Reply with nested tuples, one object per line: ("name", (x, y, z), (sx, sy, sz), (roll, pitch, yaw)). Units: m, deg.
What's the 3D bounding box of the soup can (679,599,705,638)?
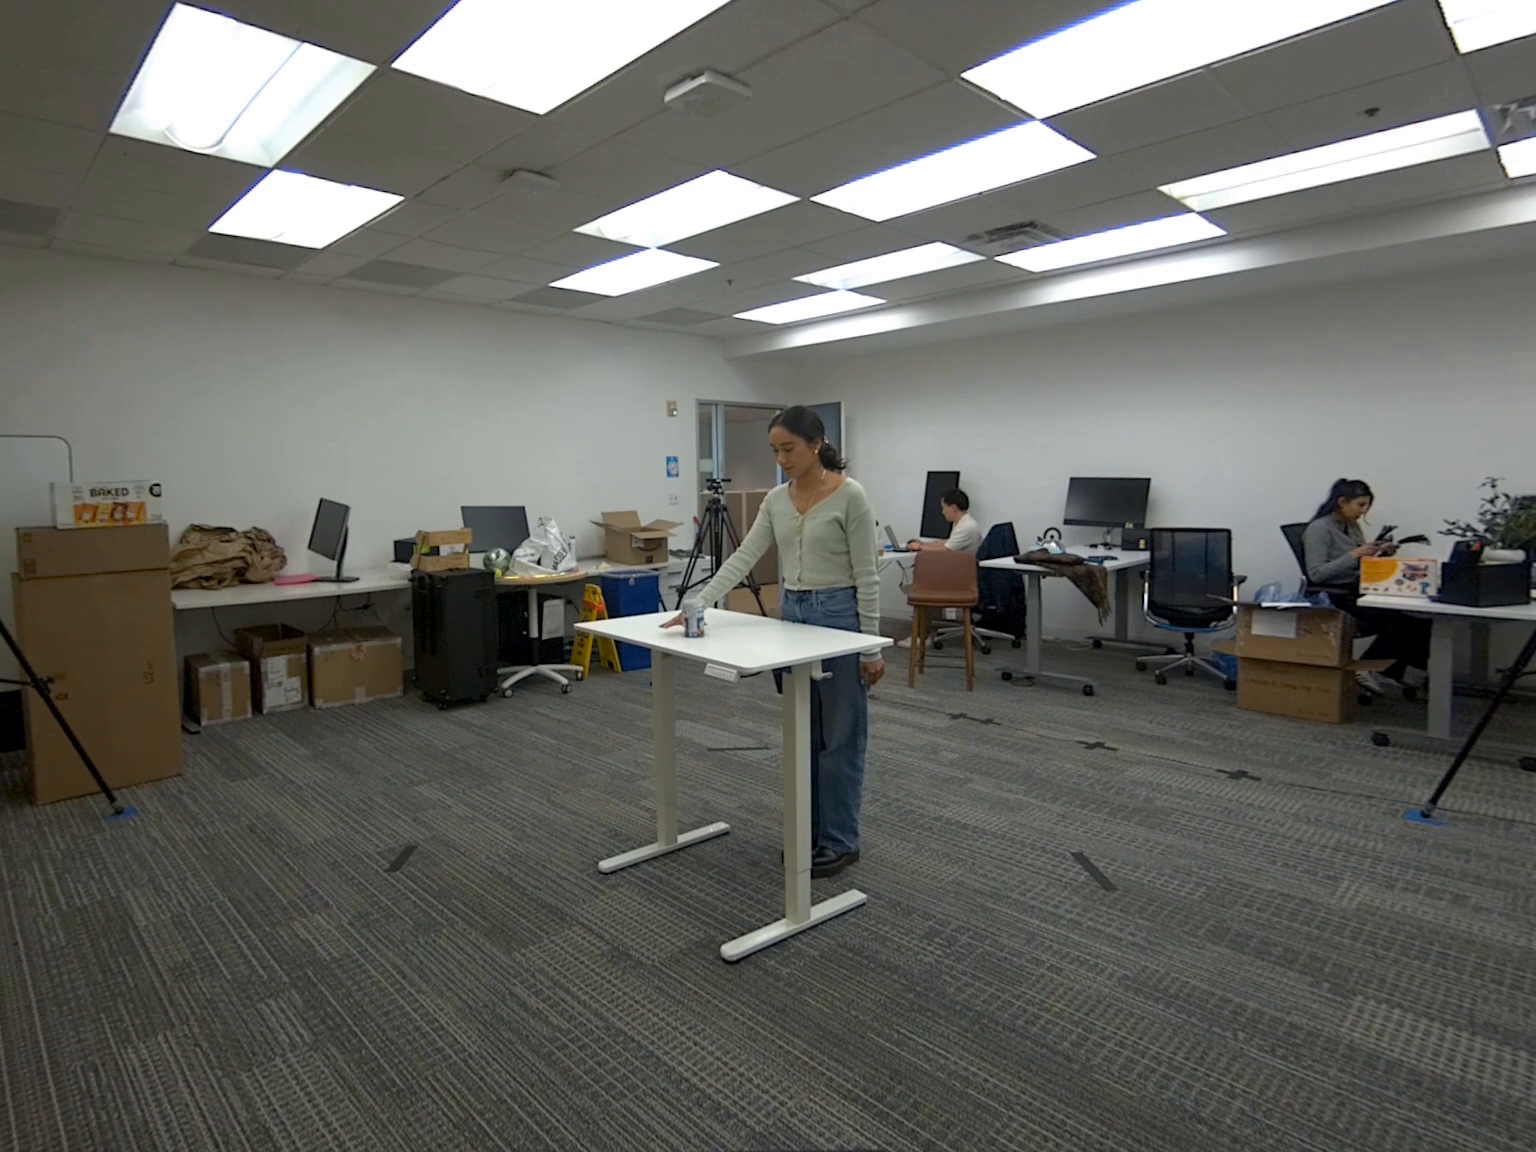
("soup can", (-0.243, 0.143, 2.796), (0.067, 0.121, 0.067), (-4, 0, -2))
